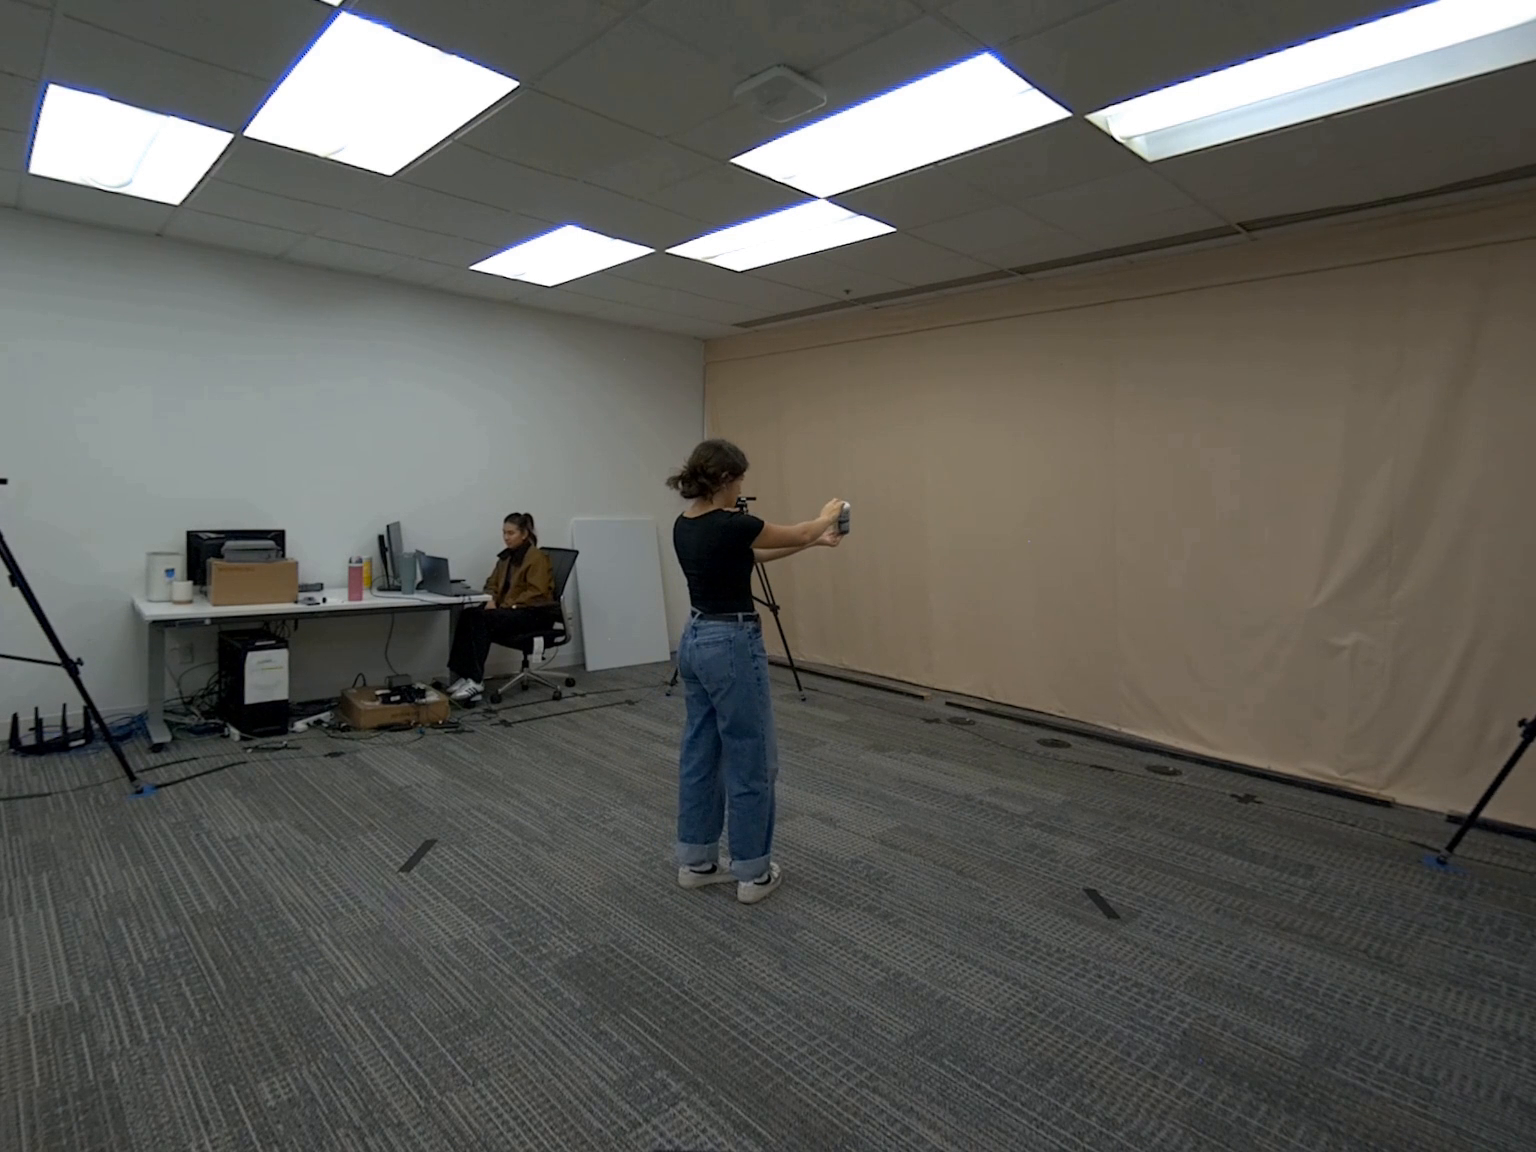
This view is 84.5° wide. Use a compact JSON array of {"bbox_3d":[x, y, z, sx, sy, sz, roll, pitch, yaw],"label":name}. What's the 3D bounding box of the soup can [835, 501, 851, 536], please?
[{"bbox_3d":[0.286,-0.229,3.301,0.067,0.119,0.068,0,27,-1],"label":"soup can"}]
